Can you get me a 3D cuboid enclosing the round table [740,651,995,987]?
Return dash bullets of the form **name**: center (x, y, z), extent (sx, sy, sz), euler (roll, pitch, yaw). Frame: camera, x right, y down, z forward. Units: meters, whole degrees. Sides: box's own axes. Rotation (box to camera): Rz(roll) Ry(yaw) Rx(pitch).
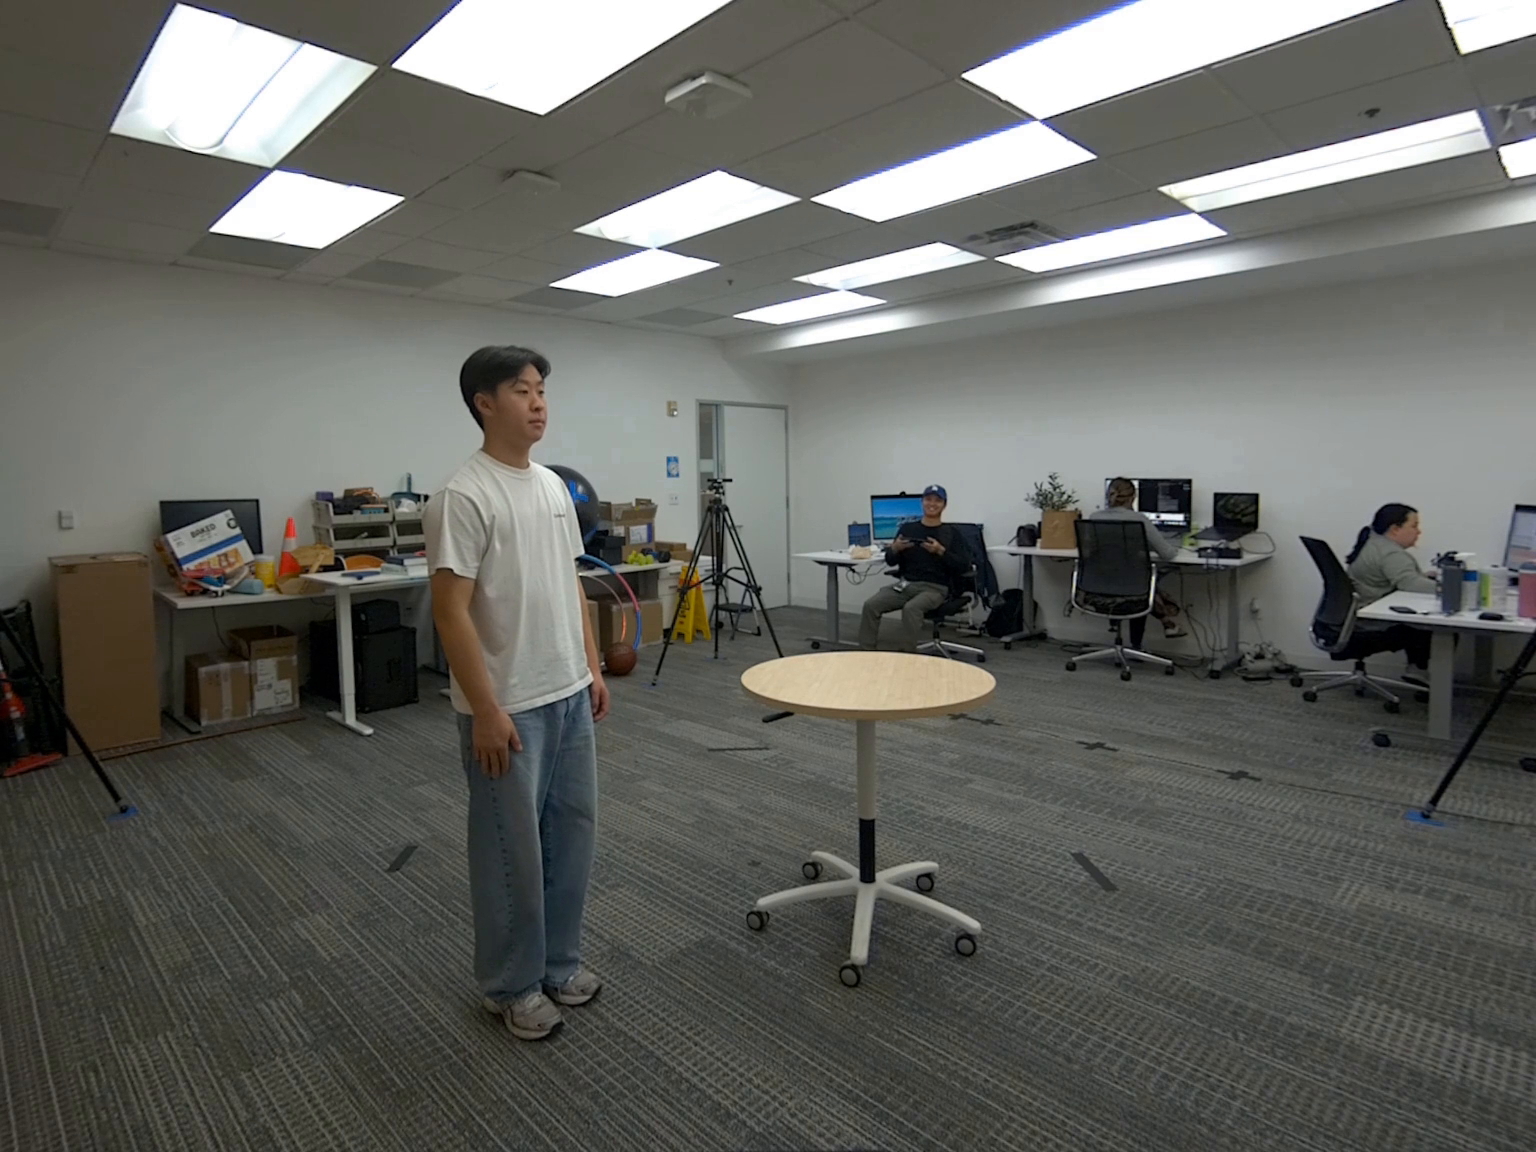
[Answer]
- **round table**: center (0.309, 0.702, 2.659), extent (0.763, 0.791, 0.768), euler (-1, 5, -2)
